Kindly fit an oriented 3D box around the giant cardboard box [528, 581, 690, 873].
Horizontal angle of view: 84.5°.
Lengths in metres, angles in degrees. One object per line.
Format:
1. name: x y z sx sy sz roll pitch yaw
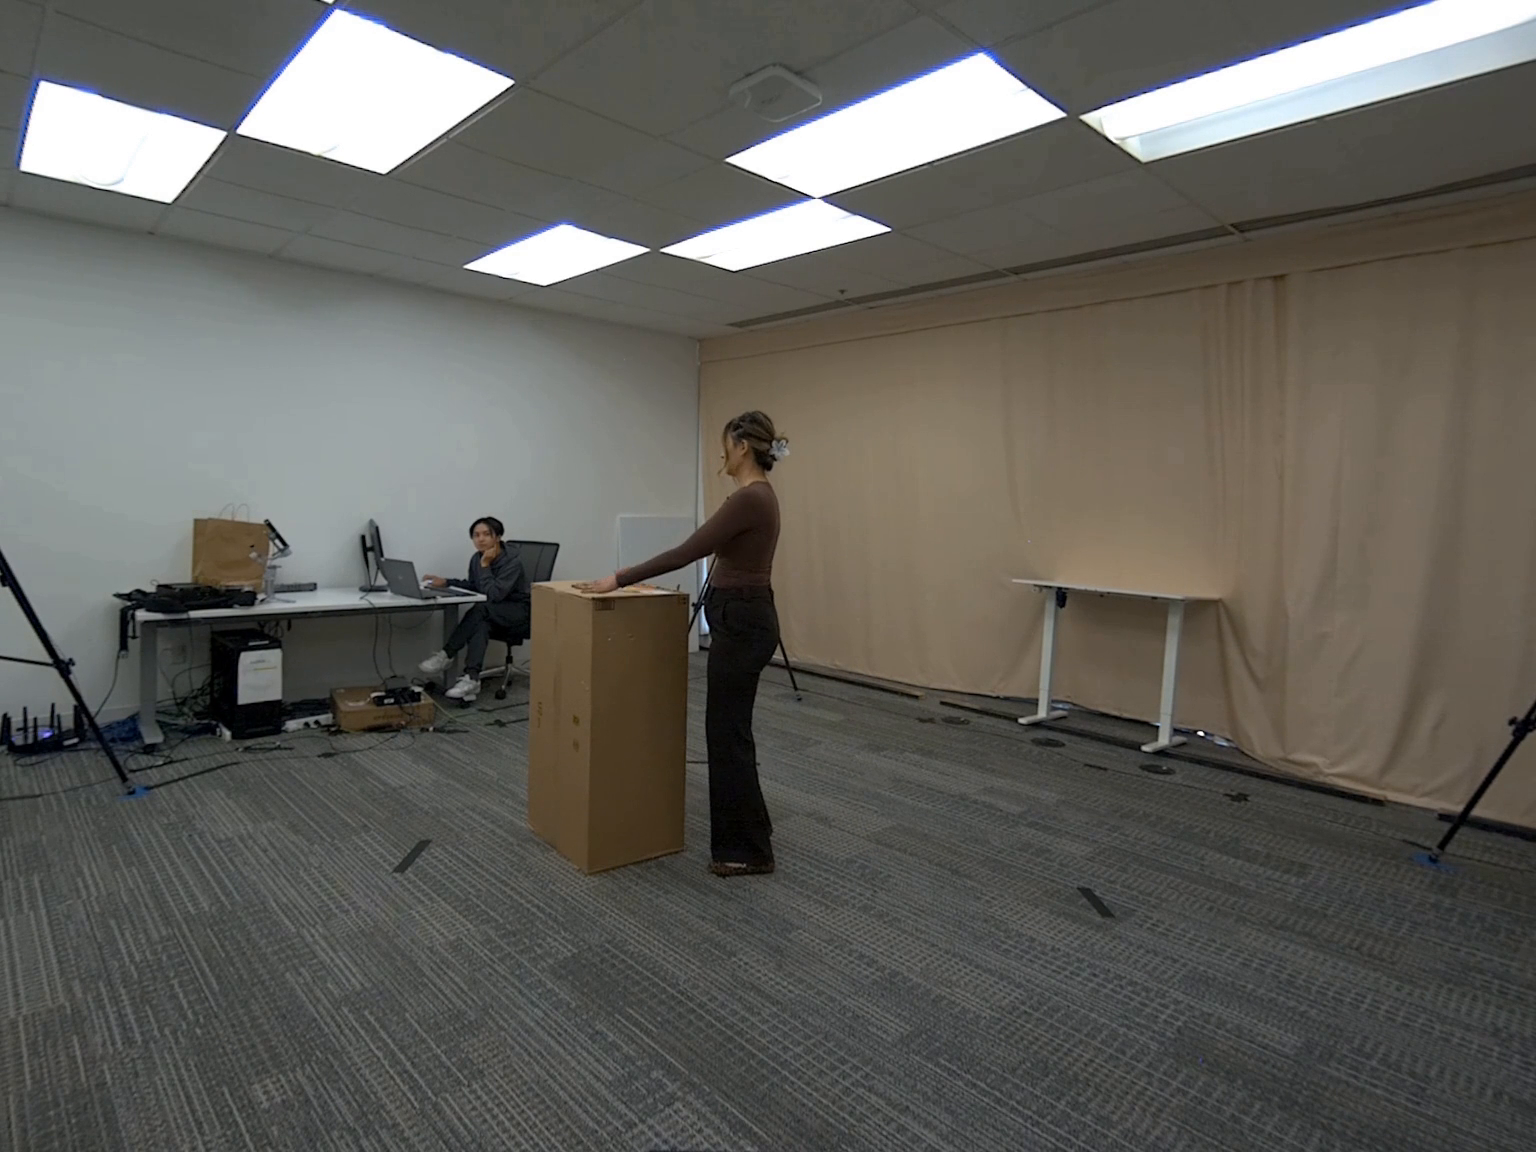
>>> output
1. giant cardboard box: -0.664 0.557 3.409 0.437 1.025 0.598 0 4 -36
